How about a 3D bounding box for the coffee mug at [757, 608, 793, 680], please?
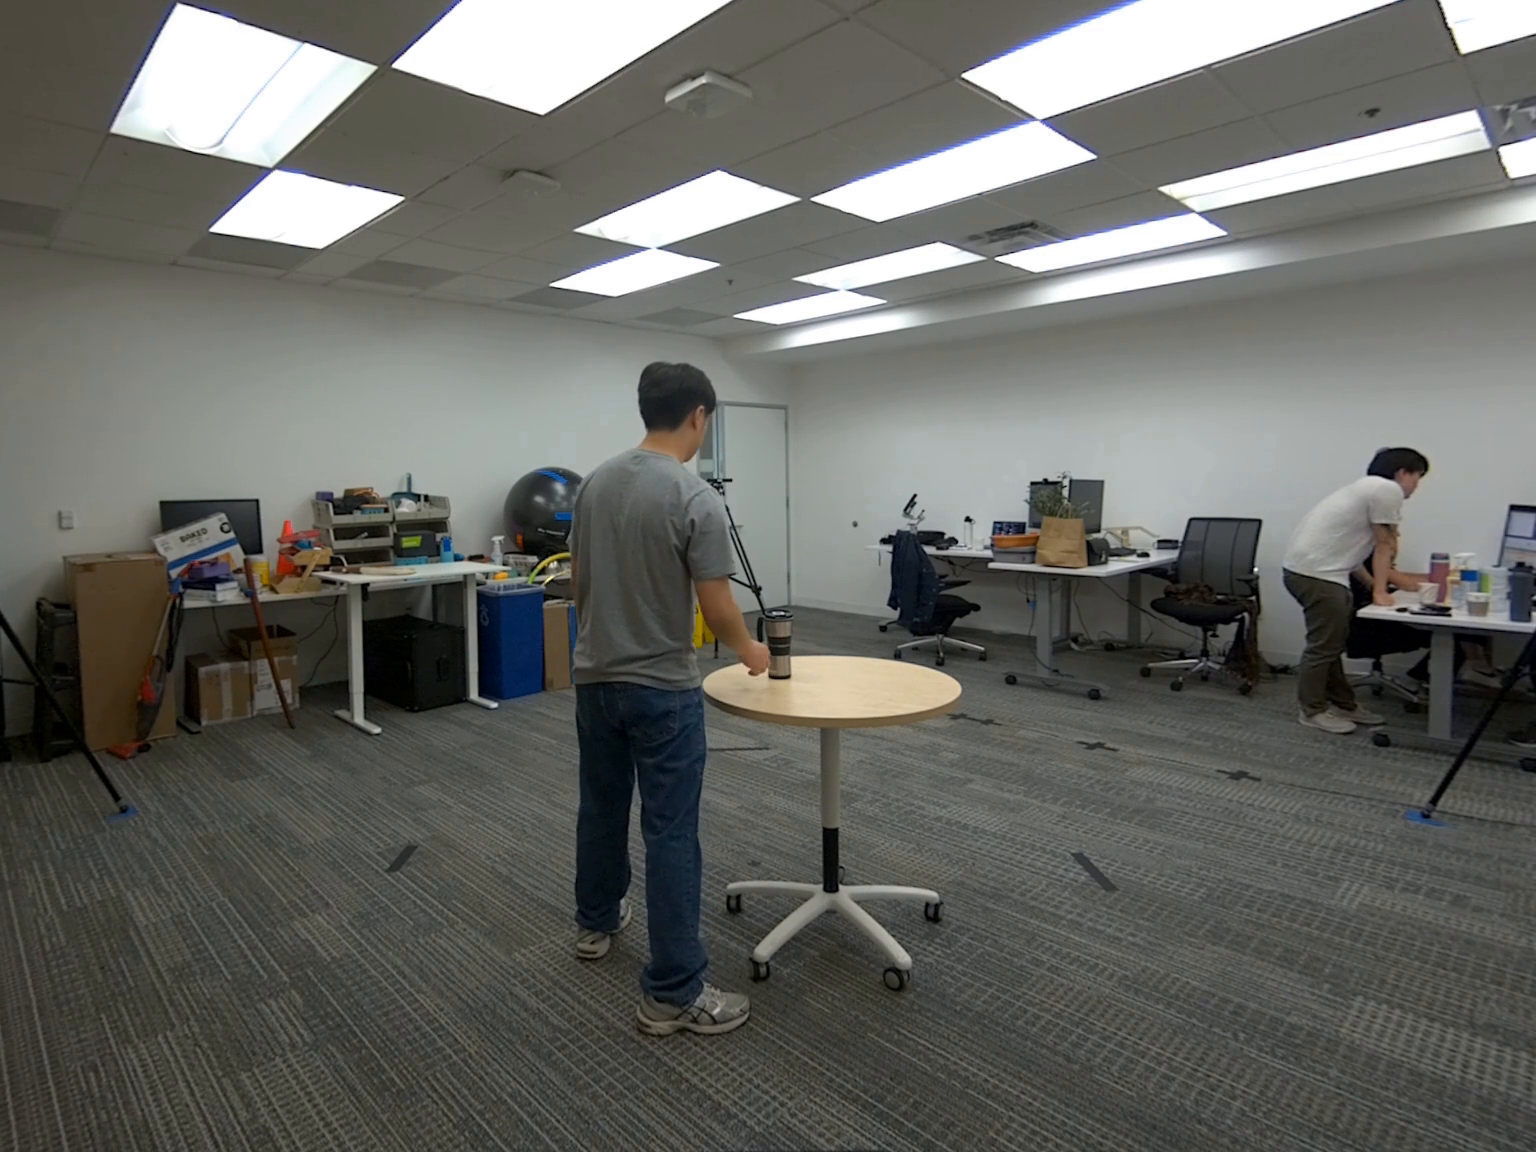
[{"bbox_3d":[0.030,0.212,2.655,0.086,0.201,0.125,-7,9,-22],"label":"coffee mug"}]
